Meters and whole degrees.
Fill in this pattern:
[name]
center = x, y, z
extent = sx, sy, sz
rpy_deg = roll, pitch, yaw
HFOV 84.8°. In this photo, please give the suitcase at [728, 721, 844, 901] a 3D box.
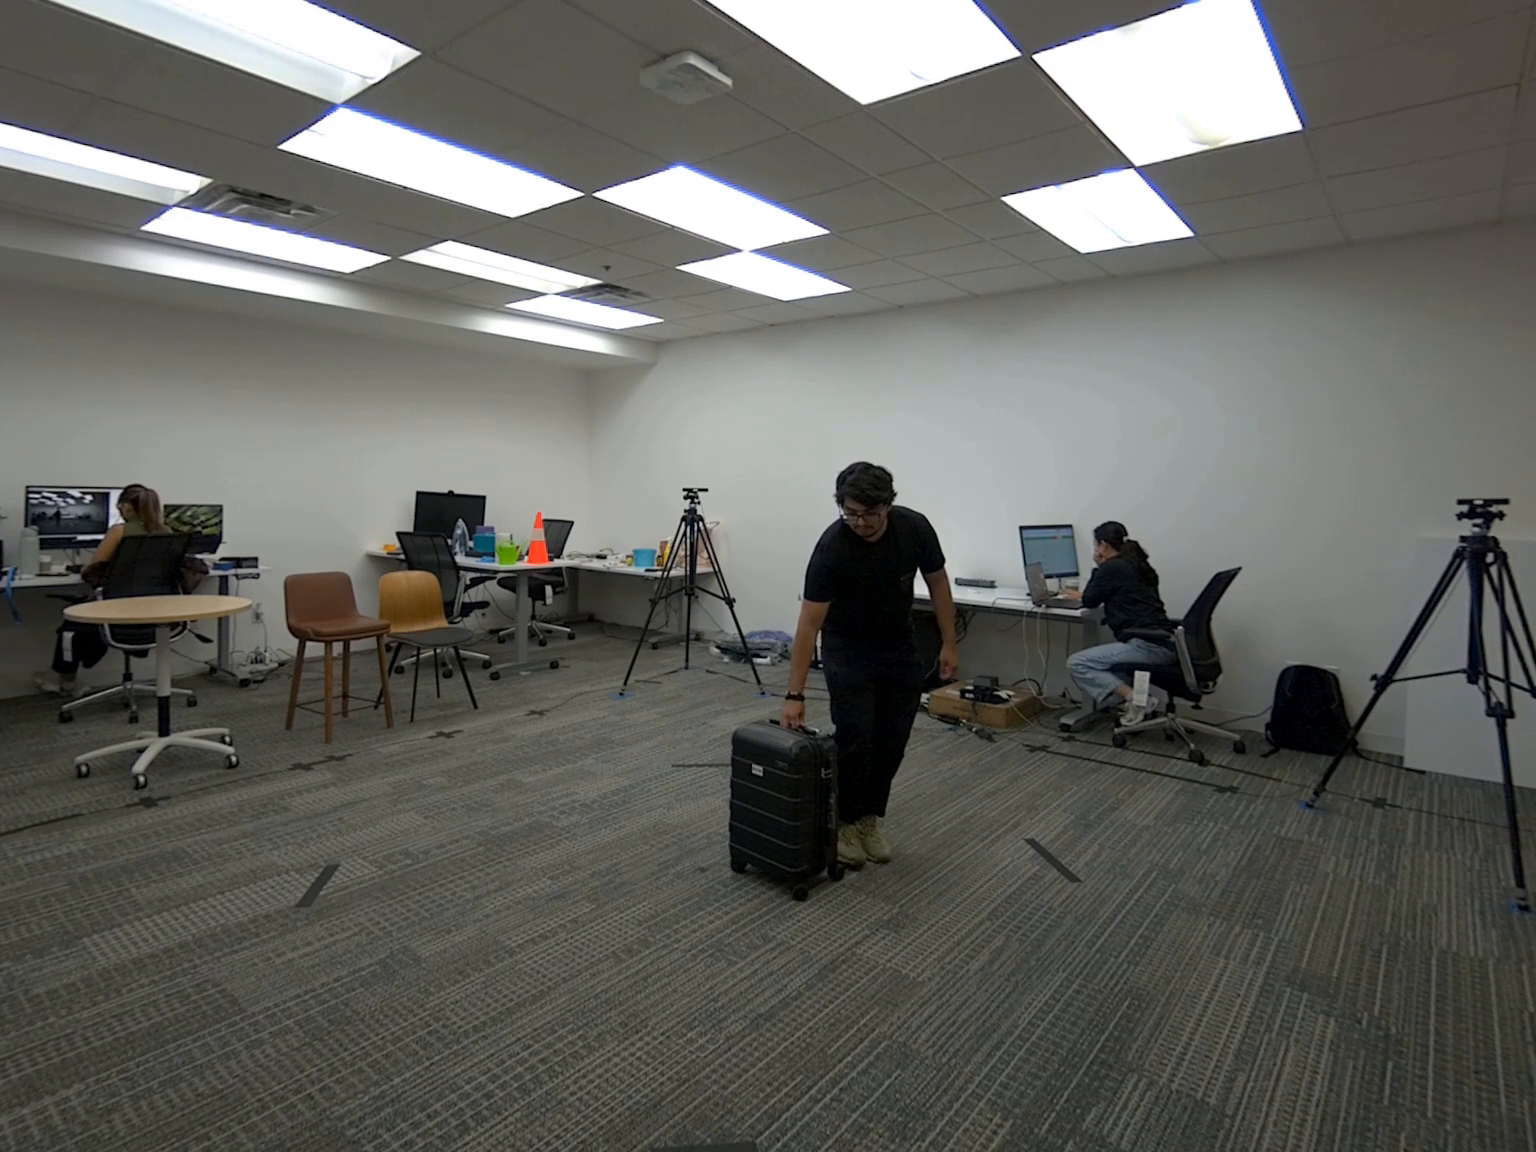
[suitcase]
center = 0.047, 0.809, 3.061
extent = 0.388, 0.547, 0.241
rpy_deg = 3, 6, 44
